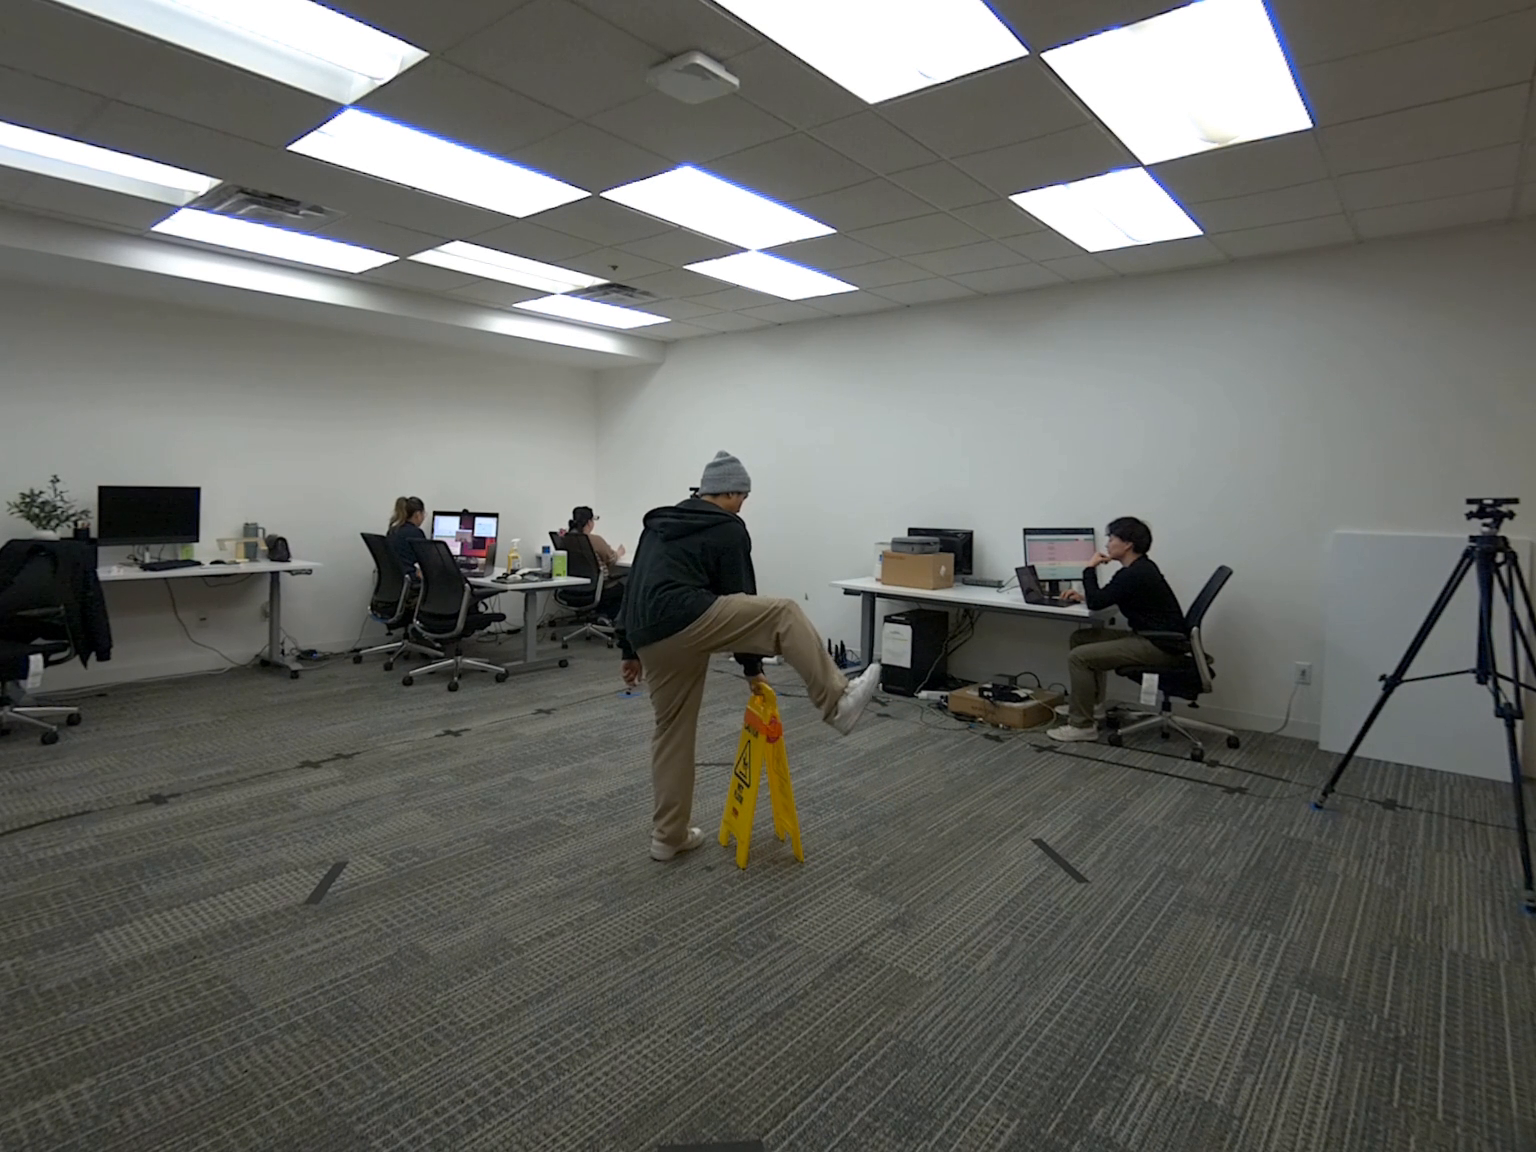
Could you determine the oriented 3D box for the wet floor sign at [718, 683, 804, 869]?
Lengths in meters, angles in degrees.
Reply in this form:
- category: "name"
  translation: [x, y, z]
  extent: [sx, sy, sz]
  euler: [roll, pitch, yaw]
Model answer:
- category: "wet floor sign"
  translation: [-0.029, 0.728, 3.258]
  extent: [0.284, 0.644, 0.288]
  euler: [1, 4, -18]
